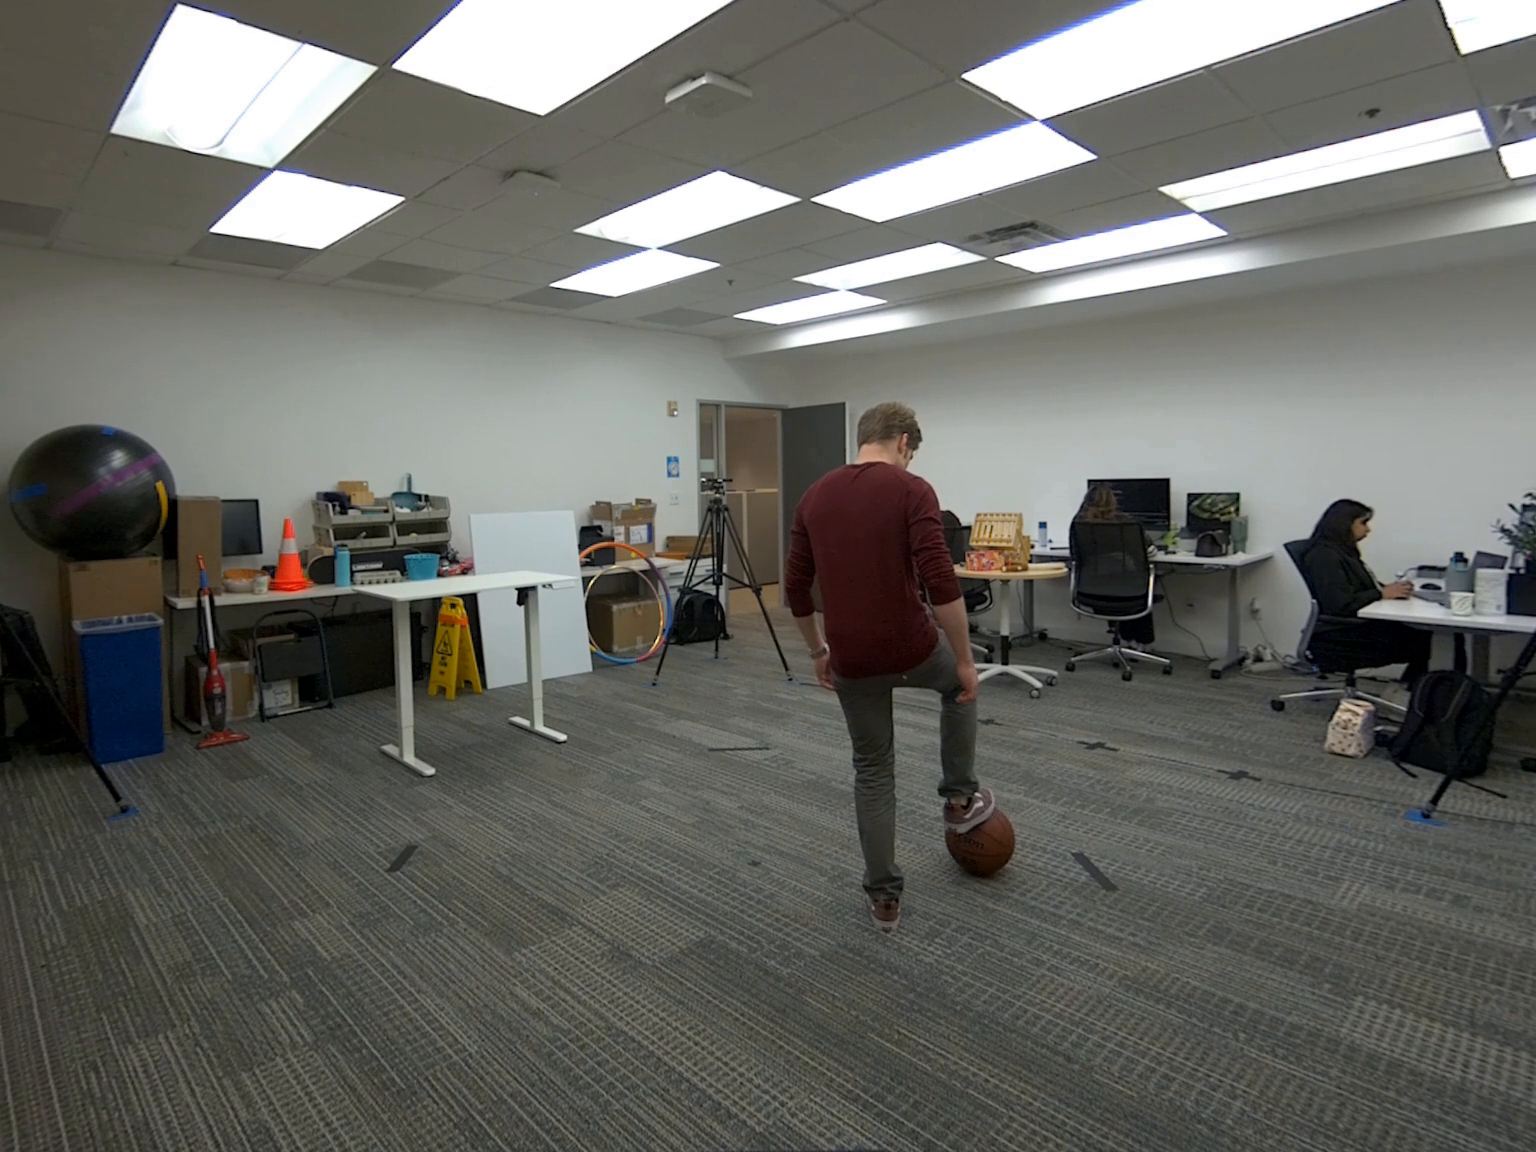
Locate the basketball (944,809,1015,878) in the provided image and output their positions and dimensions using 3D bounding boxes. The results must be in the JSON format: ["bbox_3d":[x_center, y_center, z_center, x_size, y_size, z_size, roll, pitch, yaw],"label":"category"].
[{"bbox_3d":[0.752,0.924,3.018,0.236,0.235,0.237,-1,5,-2],"label":"basketball"}]
